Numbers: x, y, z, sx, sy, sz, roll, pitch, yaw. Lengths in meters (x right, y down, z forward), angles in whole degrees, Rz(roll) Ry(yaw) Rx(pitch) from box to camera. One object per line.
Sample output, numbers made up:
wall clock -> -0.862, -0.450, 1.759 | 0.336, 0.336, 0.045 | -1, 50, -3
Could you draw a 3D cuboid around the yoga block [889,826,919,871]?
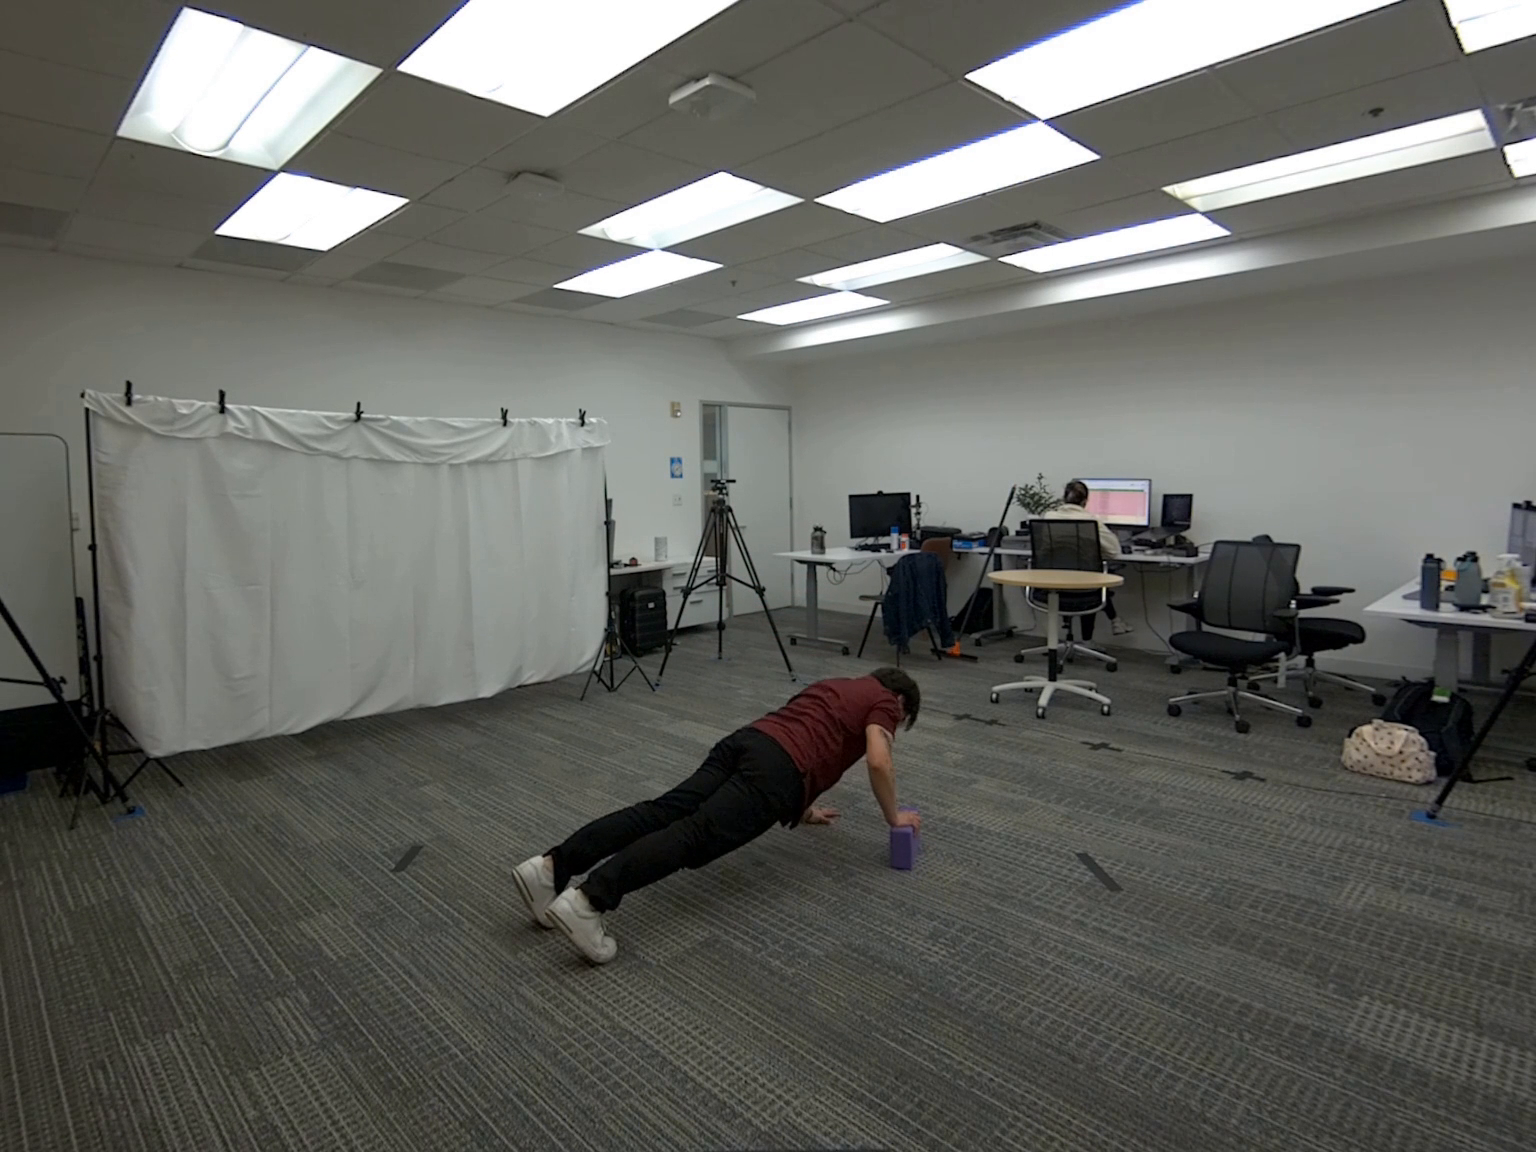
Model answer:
yoga block -> 0.497, 0.955, 3.141 | 0.078, 0.148, 0.226 | -1, 6, 18
